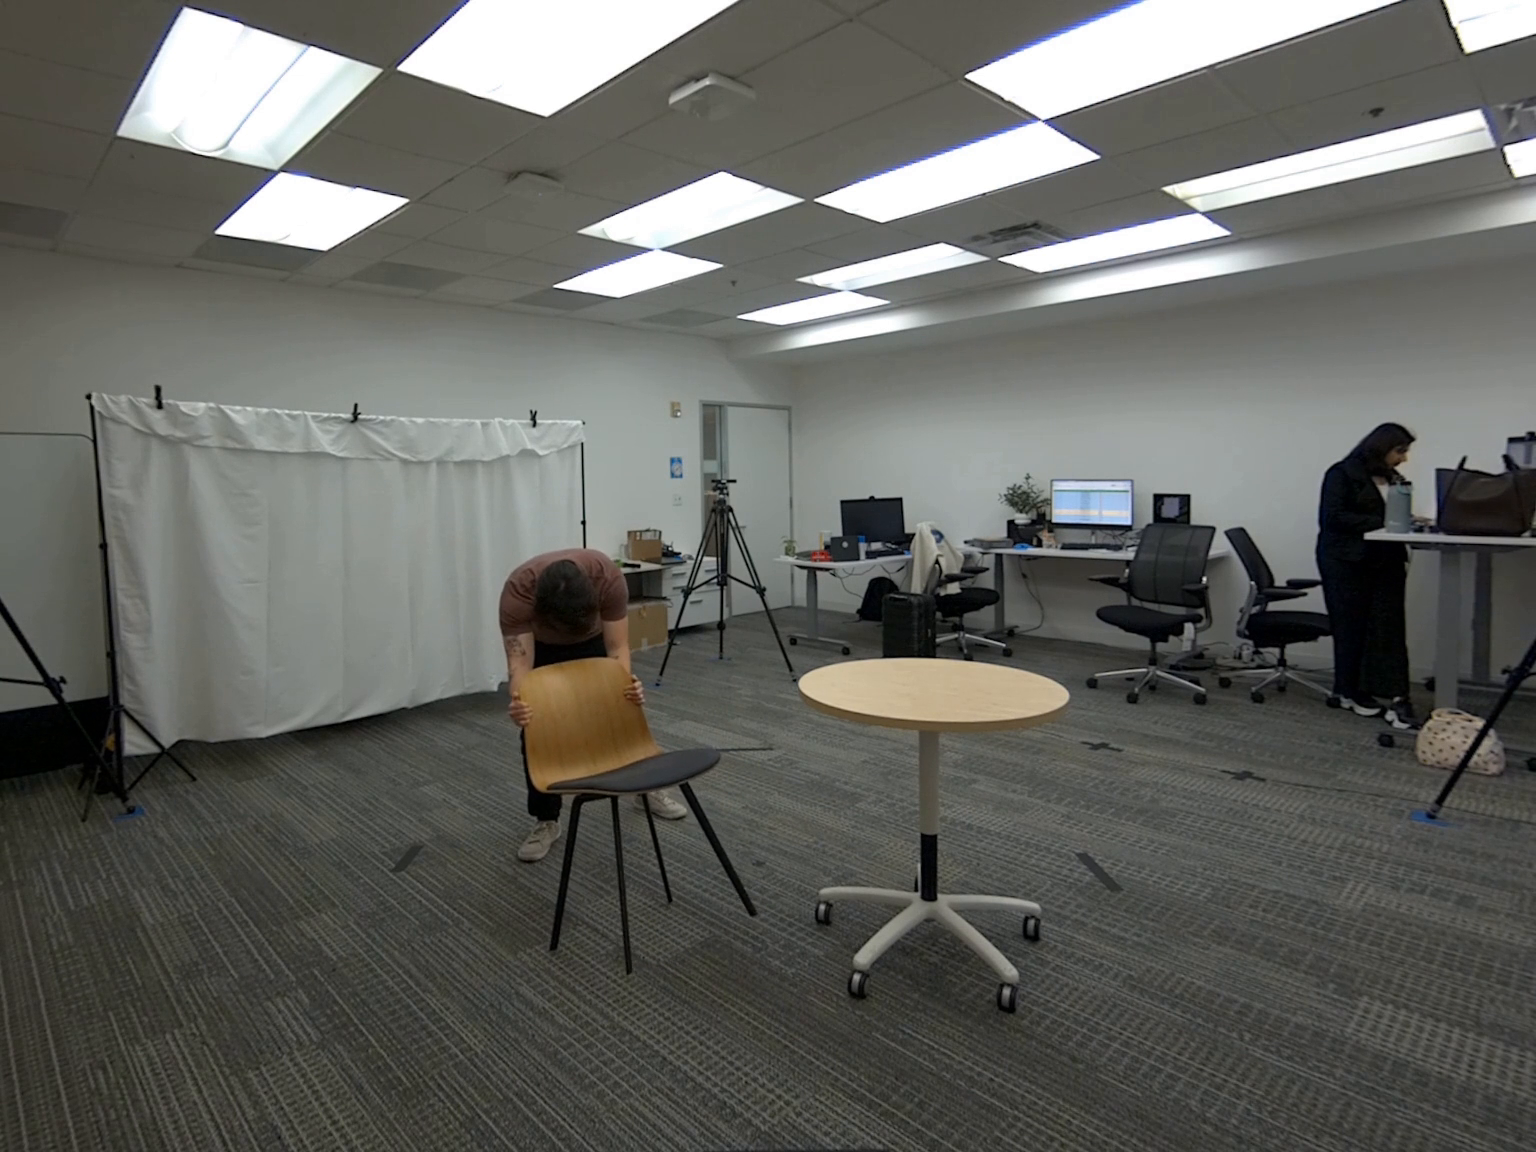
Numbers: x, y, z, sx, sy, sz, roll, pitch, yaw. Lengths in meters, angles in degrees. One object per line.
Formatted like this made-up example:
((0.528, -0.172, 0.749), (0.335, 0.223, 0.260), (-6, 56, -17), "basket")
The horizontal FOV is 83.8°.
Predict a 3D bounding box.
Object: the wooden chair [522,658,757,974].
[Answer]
((-0.416, 0.641, 2.583), (0.466, 0.888, 0.530), (-5, -14, -41), "wooden chair")
